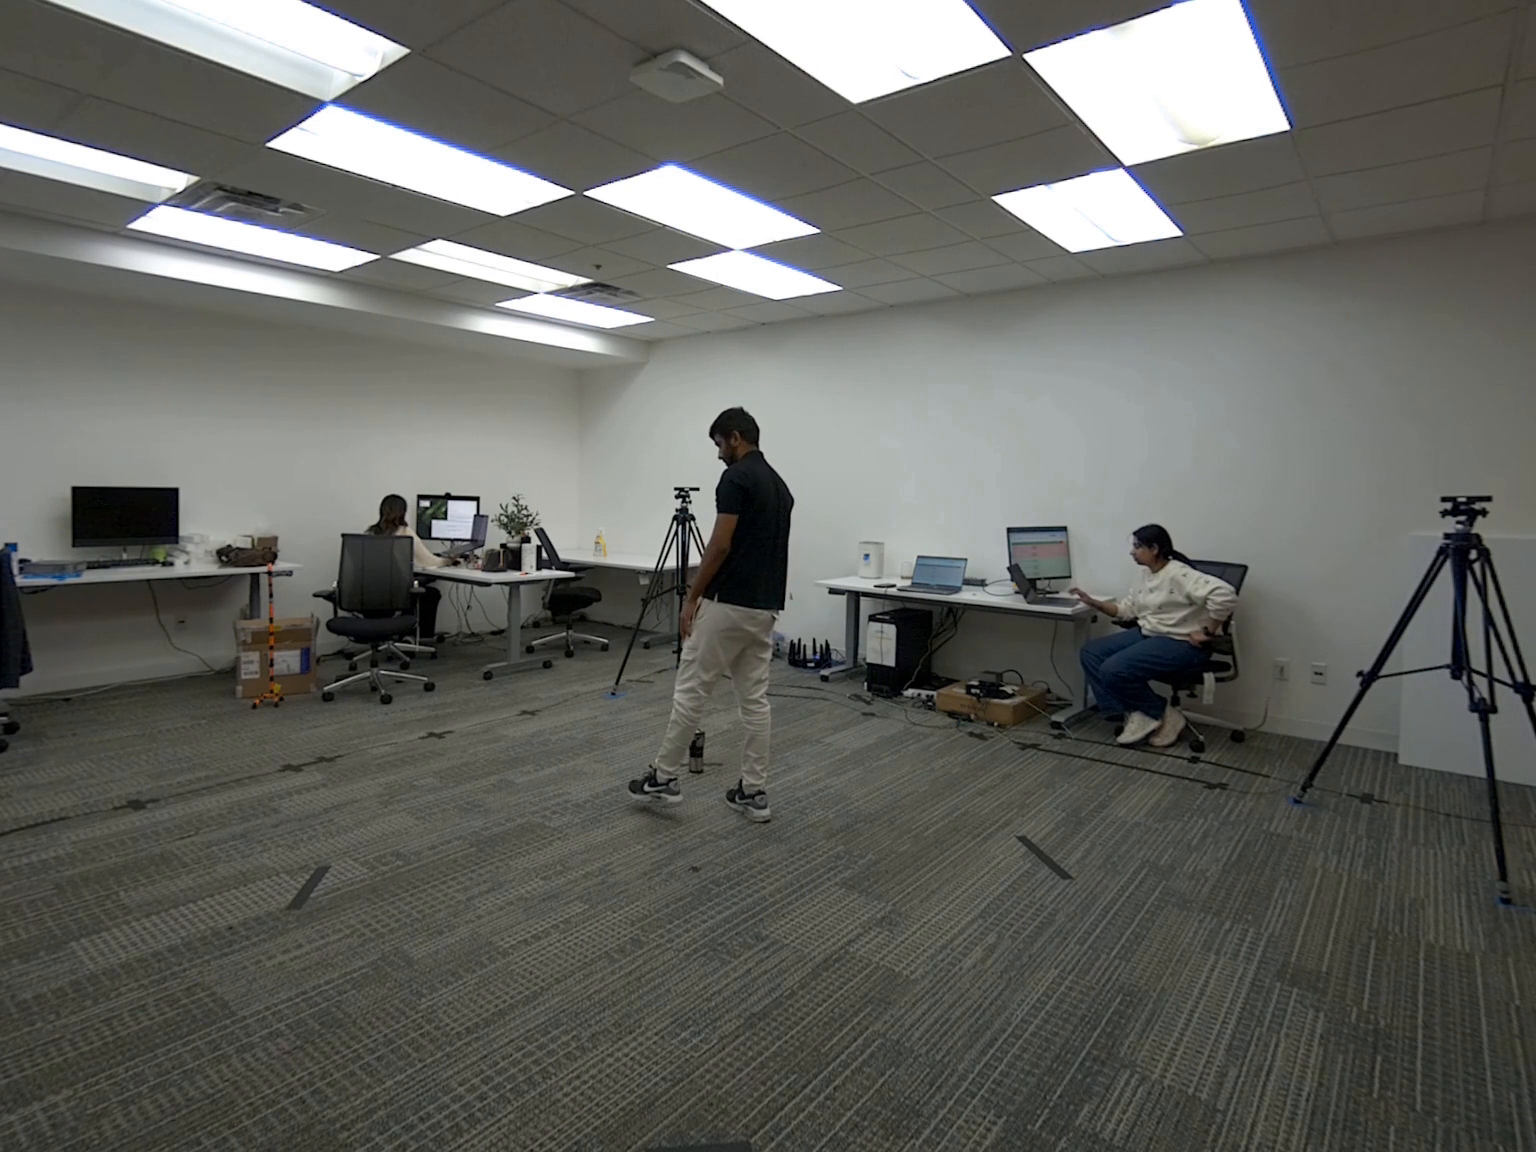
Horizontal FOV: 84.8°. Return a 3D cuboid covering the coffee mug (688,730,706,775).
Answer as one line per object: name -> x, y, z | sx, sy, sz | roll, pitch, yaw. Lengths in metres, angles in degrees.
coffee mug -> -0.377, 0.861, 4.175 | 0.091, 0.203, 0.118 | 5, 1, 34
